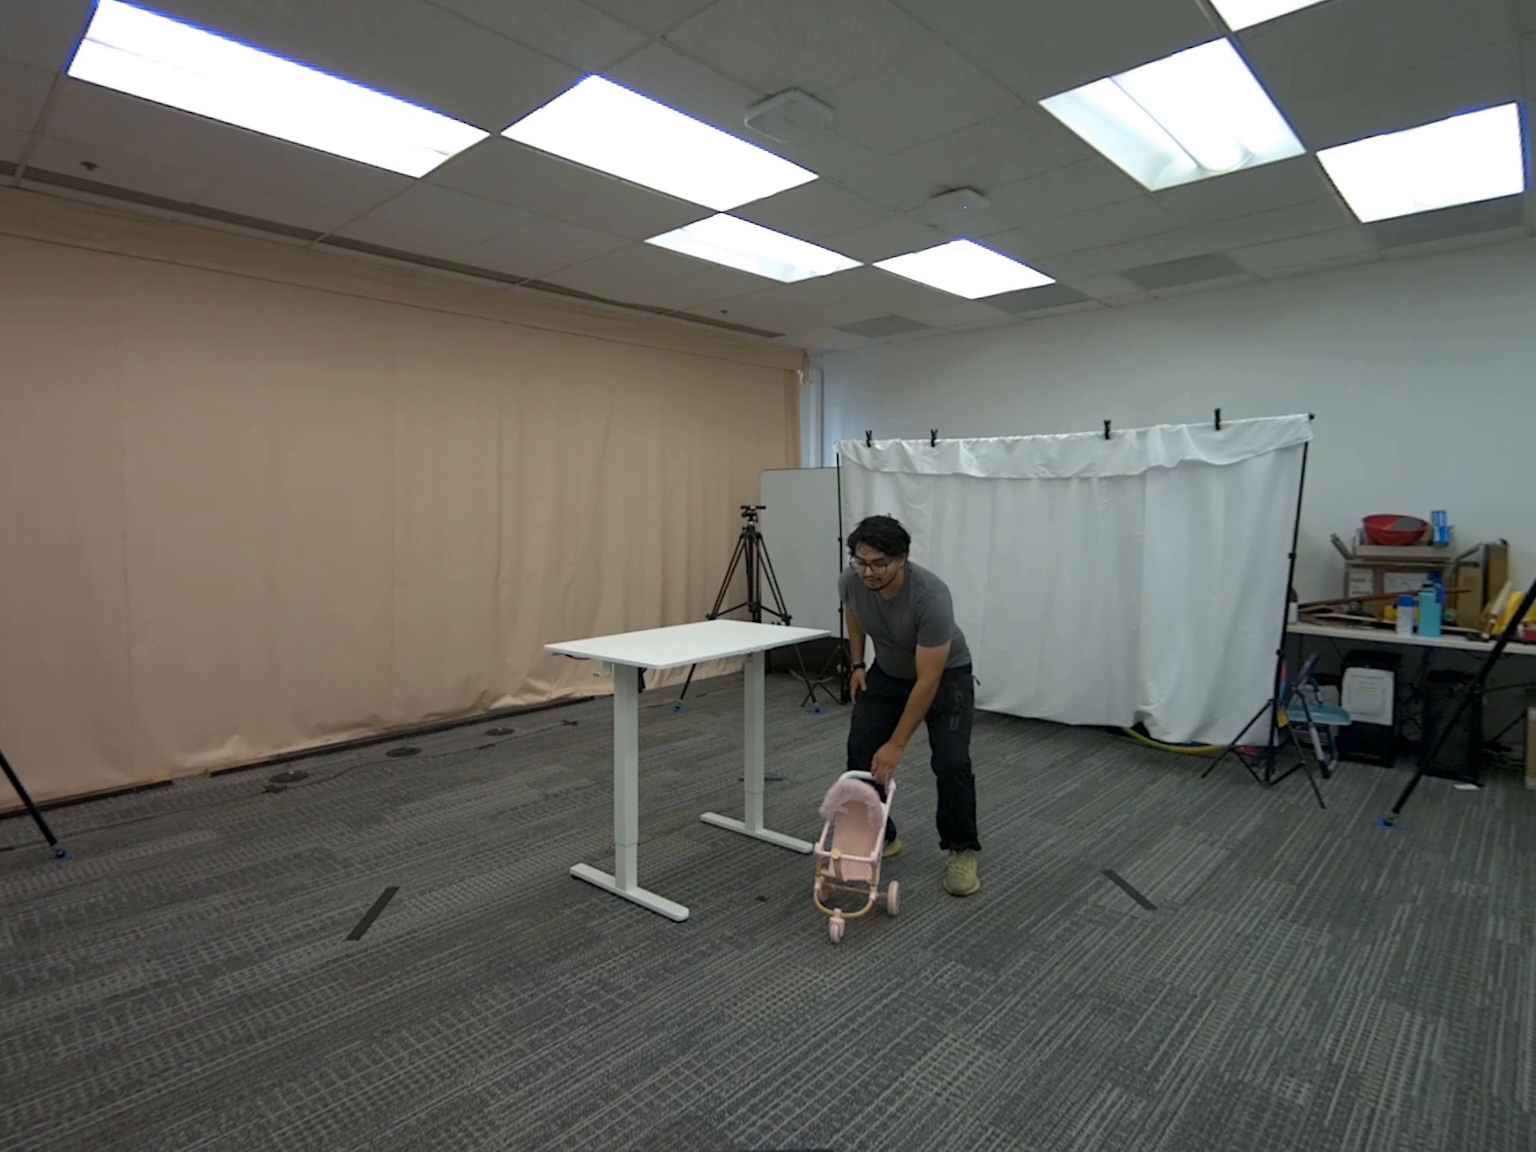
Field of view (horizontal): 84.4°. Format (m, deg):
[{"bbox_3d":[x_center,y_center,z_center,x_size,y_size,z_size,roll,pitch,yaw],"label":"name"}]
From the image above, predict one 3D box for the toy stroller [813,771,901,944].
[{"bbox_3d":[0.288,0.932,2.848,0.289,0.538,0.330,0,-13,27],"label":"toy stroller"}]
